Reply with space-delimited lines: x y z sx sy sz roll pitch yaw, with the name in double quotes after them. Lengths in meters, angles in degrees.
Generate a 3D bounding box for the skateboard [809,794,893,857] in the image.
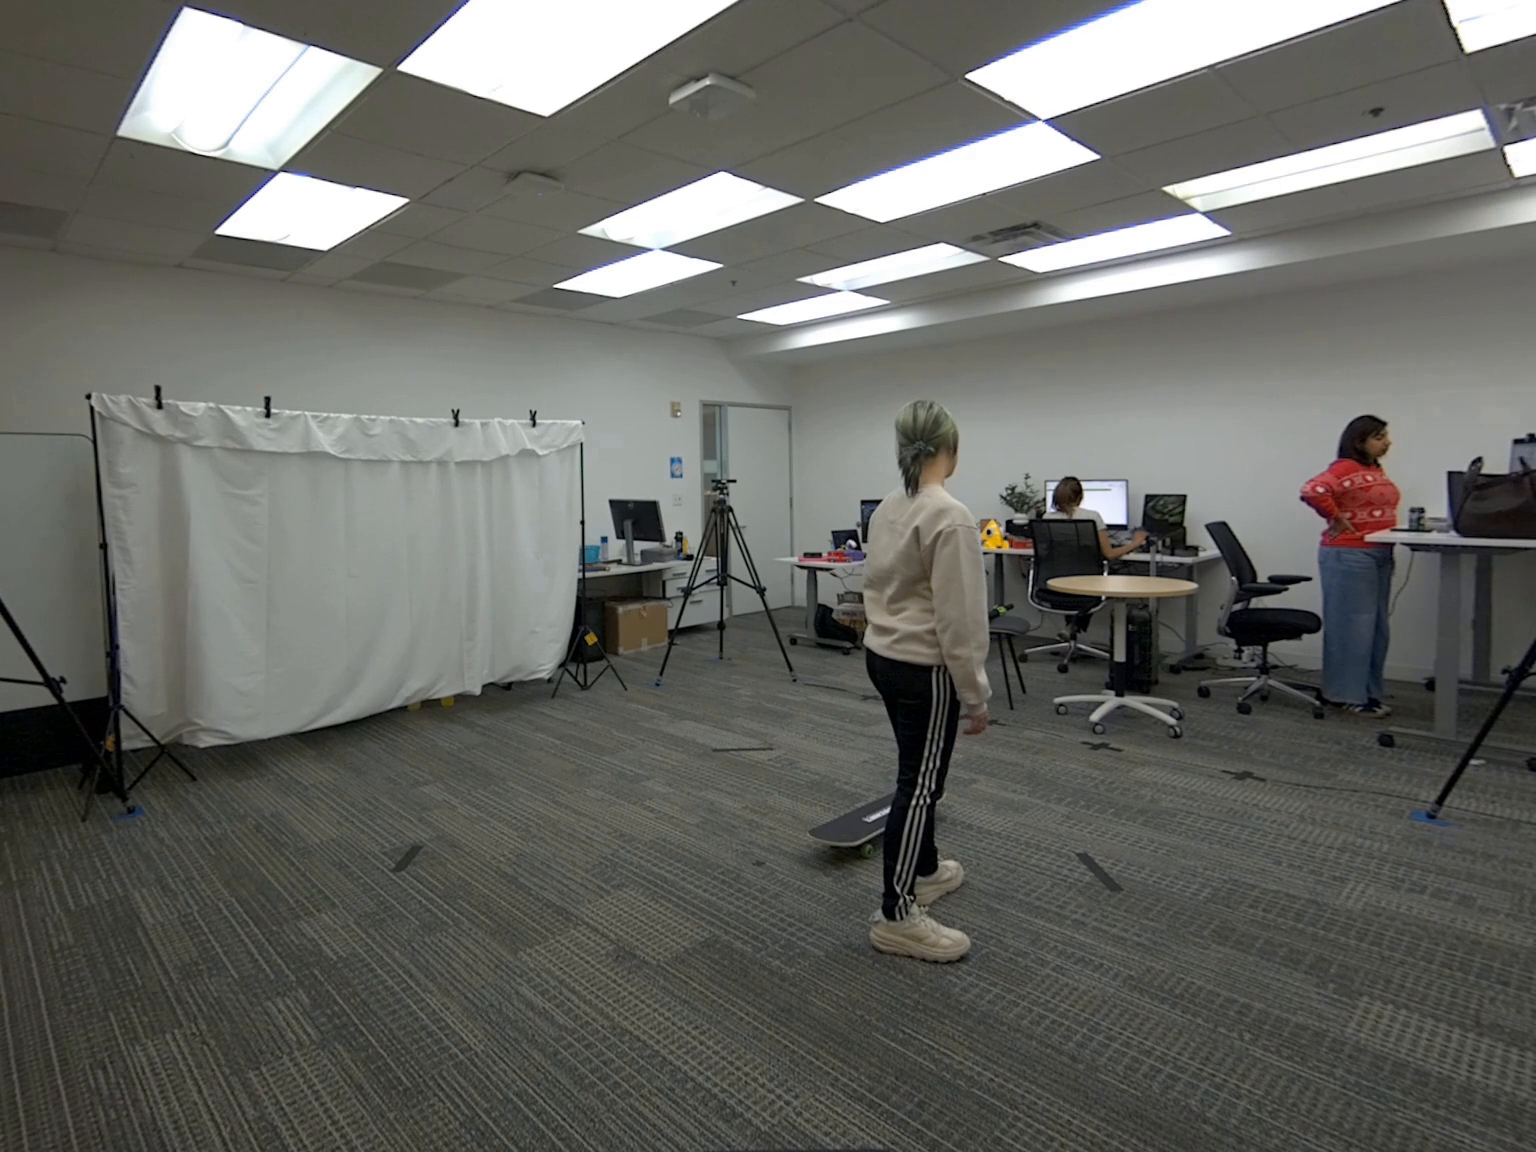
0.437 0.954 3.333 0.199 0.110 0.765 3 7 43 "skateboard"
